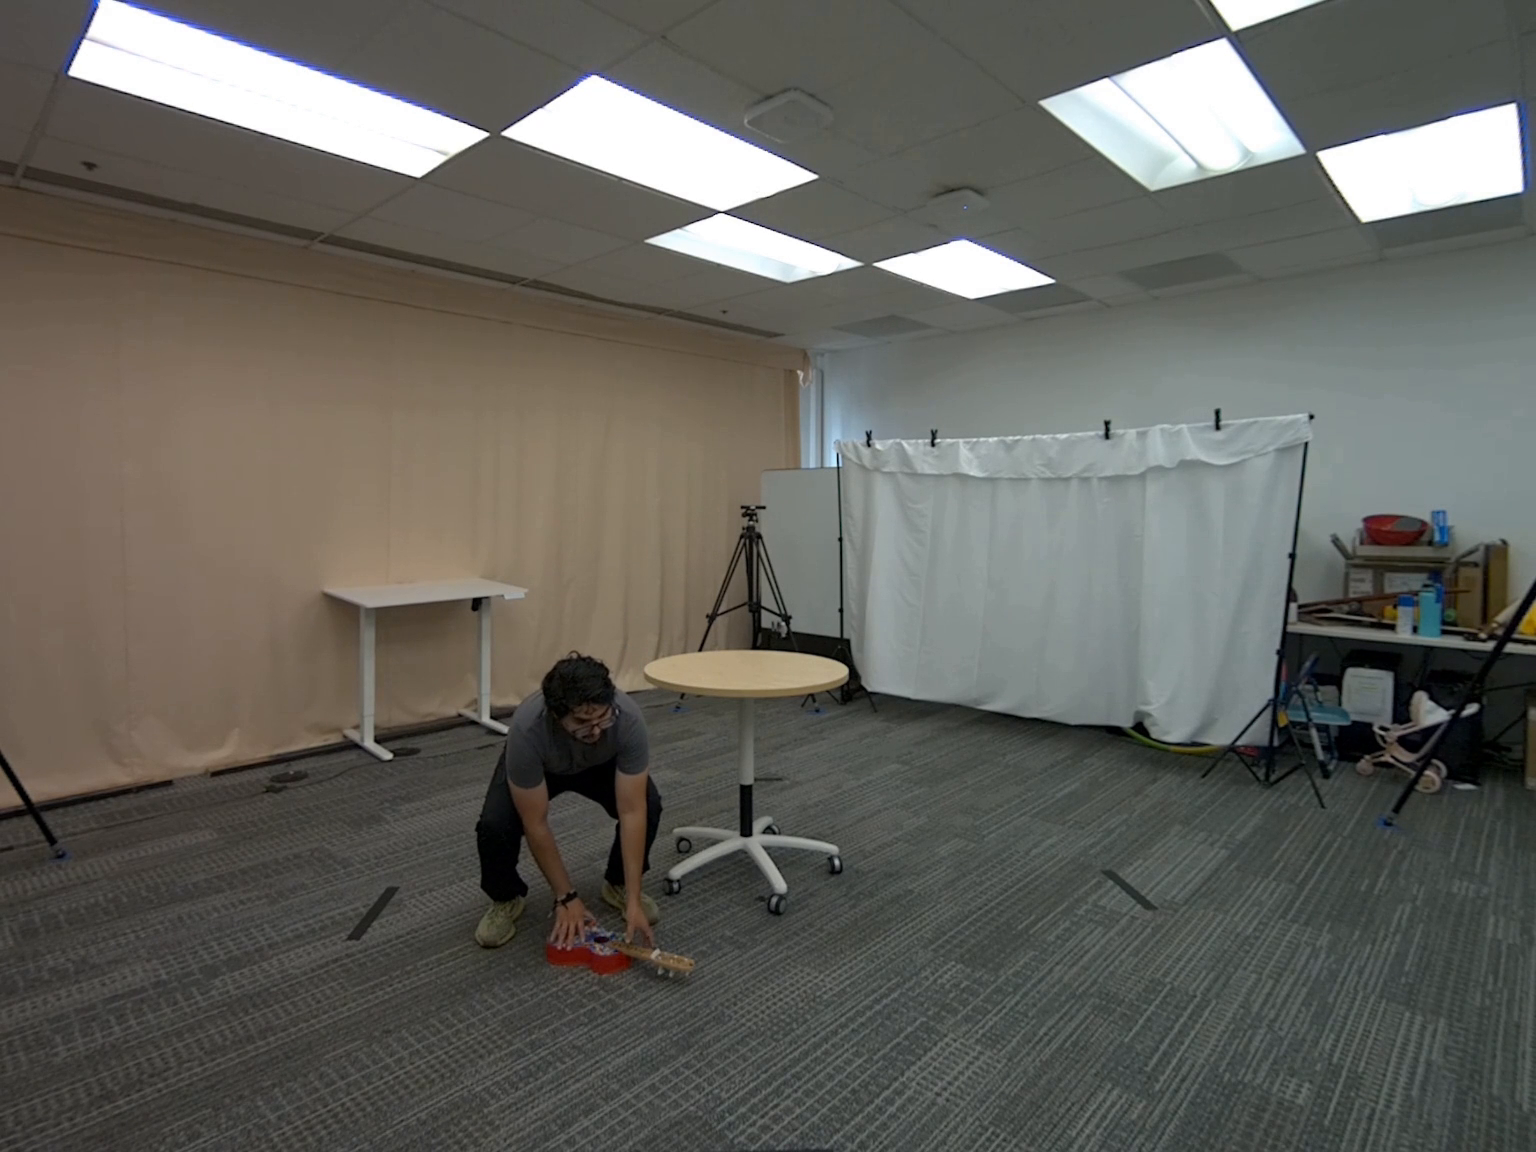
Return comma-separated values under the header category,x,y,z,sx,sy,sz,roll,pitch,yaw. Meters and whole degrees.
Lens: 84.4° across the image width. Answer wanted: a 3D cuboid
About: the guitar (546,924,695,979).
category,x,y,z,sx,sy,sz,roll,pitch,yaw
guitar,-0.460,1.148,2.530,0.513,0.070,0.187,2,5,35
